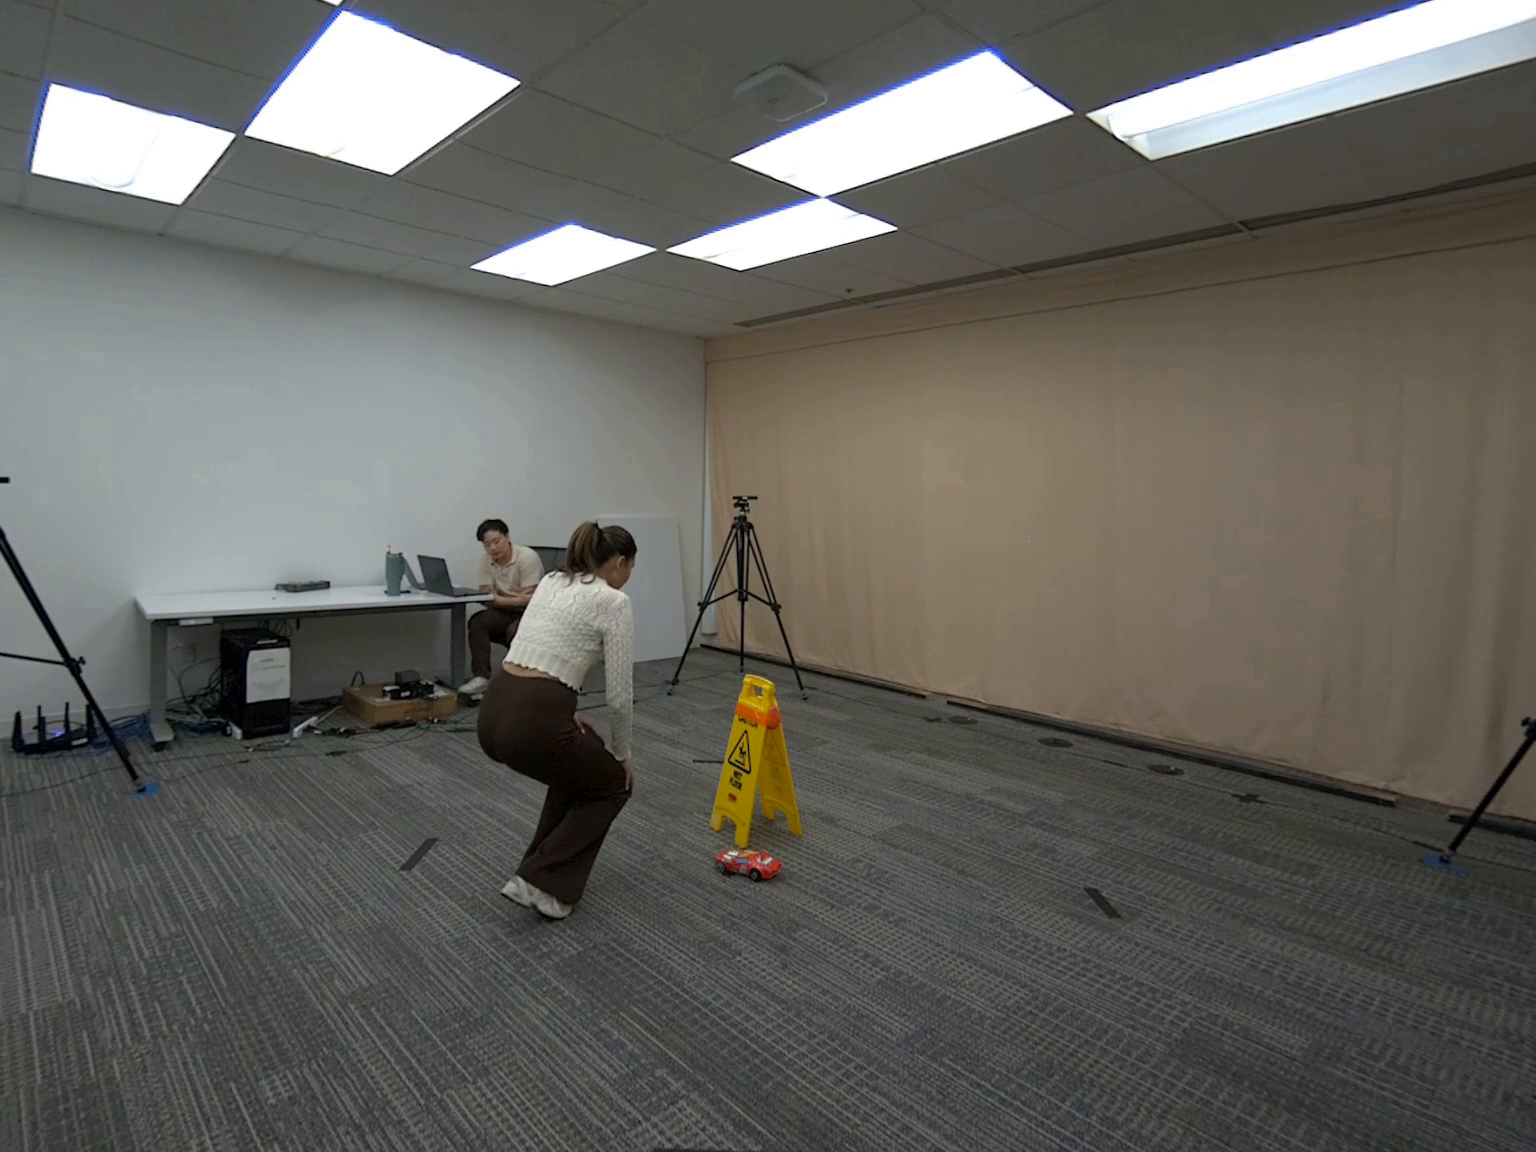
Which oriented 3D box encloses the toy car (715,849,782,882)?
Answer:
[{"bbox_3d":[-0.080,1.070,3.117,0.259,0.083,0.128,-8,-2,28],"label":"toy car"}]
